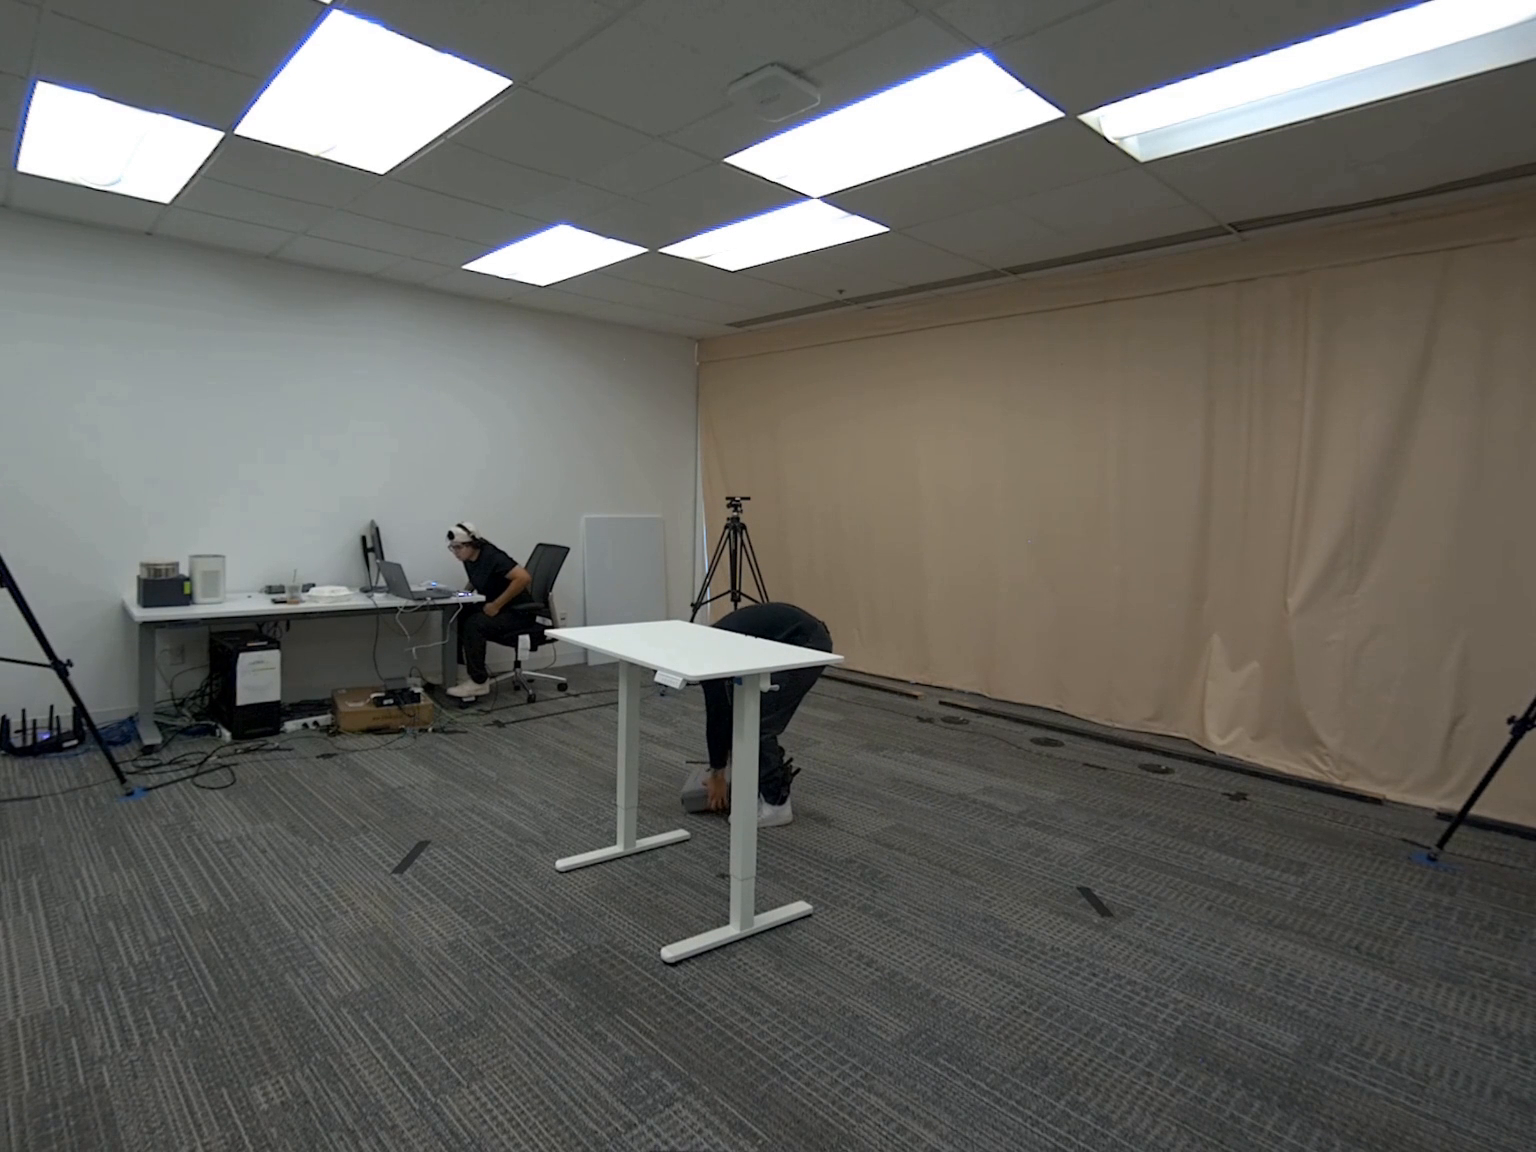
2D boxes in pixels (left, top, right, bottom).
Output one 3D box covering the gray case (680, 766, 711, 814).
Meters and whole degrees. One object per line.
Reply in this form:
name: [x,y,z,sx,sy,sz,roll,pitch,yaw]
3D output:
gray case: [-0.240,0.947,3.794,0.262,0.104,0.256,-11,6,8]
